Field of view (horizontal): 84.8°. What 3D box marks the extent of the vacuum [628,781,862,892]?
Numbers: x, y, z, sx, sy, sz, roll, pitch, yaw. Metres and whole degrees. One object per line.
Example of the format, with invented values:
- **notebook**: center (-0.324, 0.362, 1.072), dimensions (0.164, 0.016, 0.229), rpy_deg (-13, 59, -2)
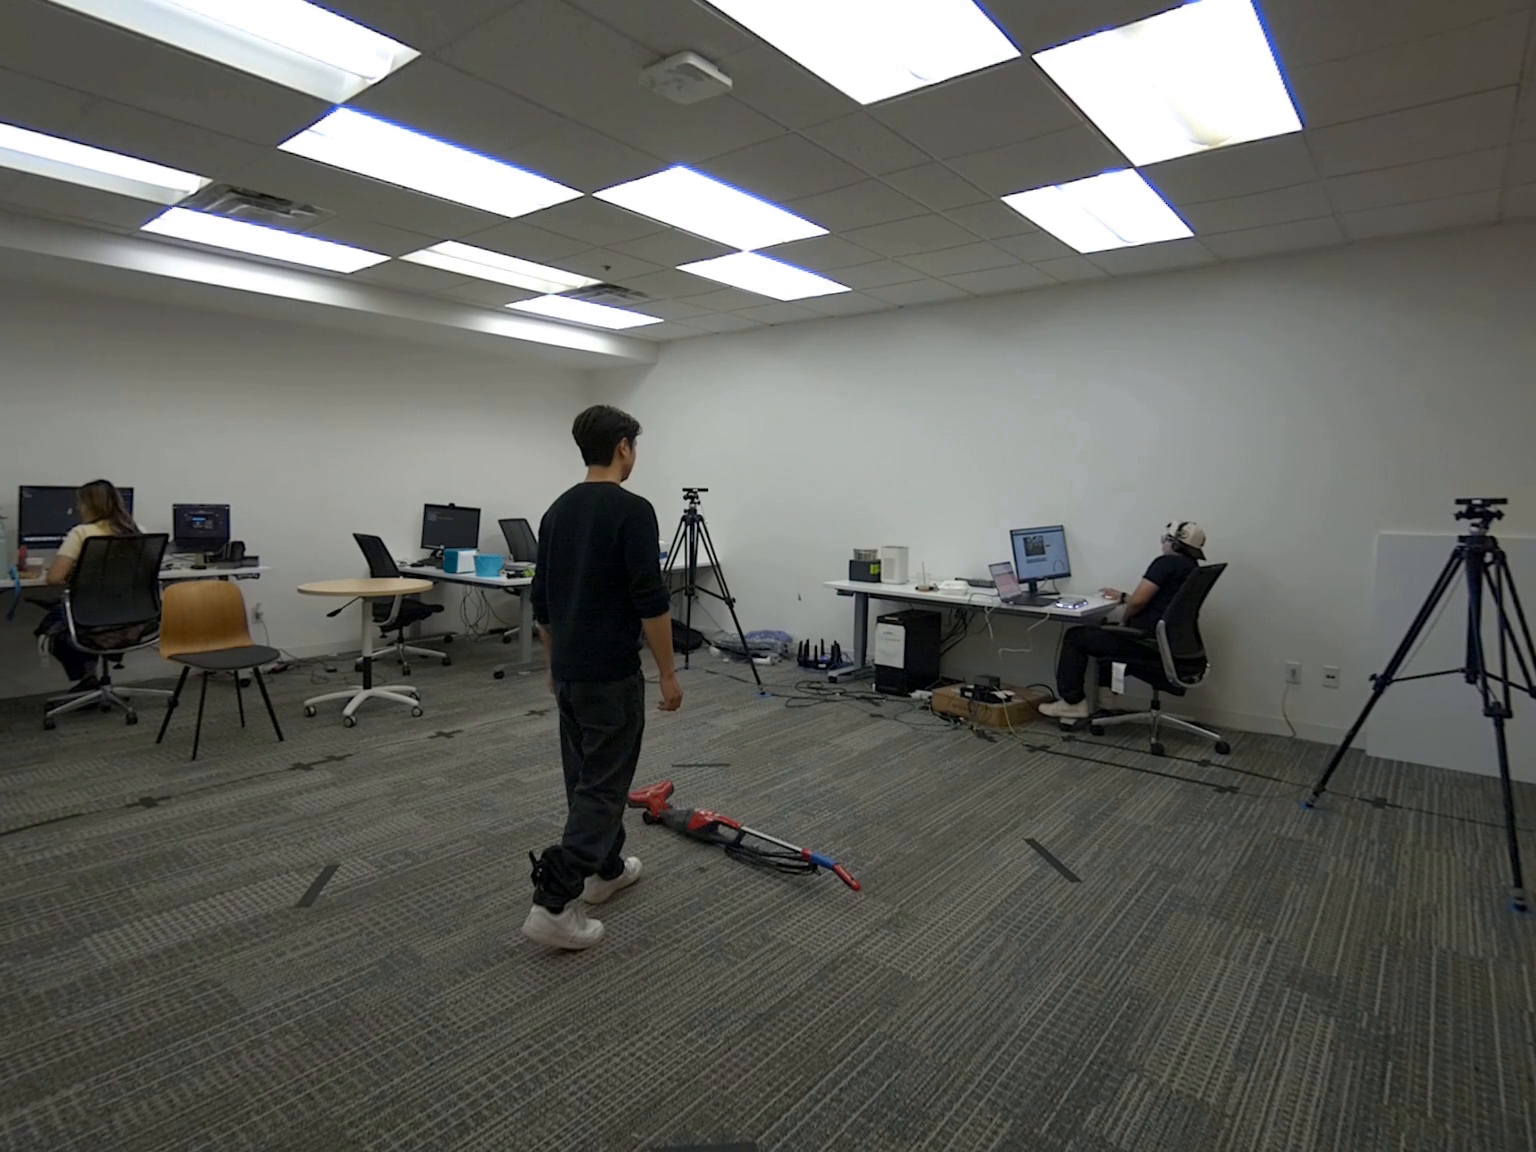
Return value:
- **vacuum**: center (-0.104, 1.000, 3.219), dimensions (1.086, 0.143, 0.245), rpy_deg (7, 10, 43)
